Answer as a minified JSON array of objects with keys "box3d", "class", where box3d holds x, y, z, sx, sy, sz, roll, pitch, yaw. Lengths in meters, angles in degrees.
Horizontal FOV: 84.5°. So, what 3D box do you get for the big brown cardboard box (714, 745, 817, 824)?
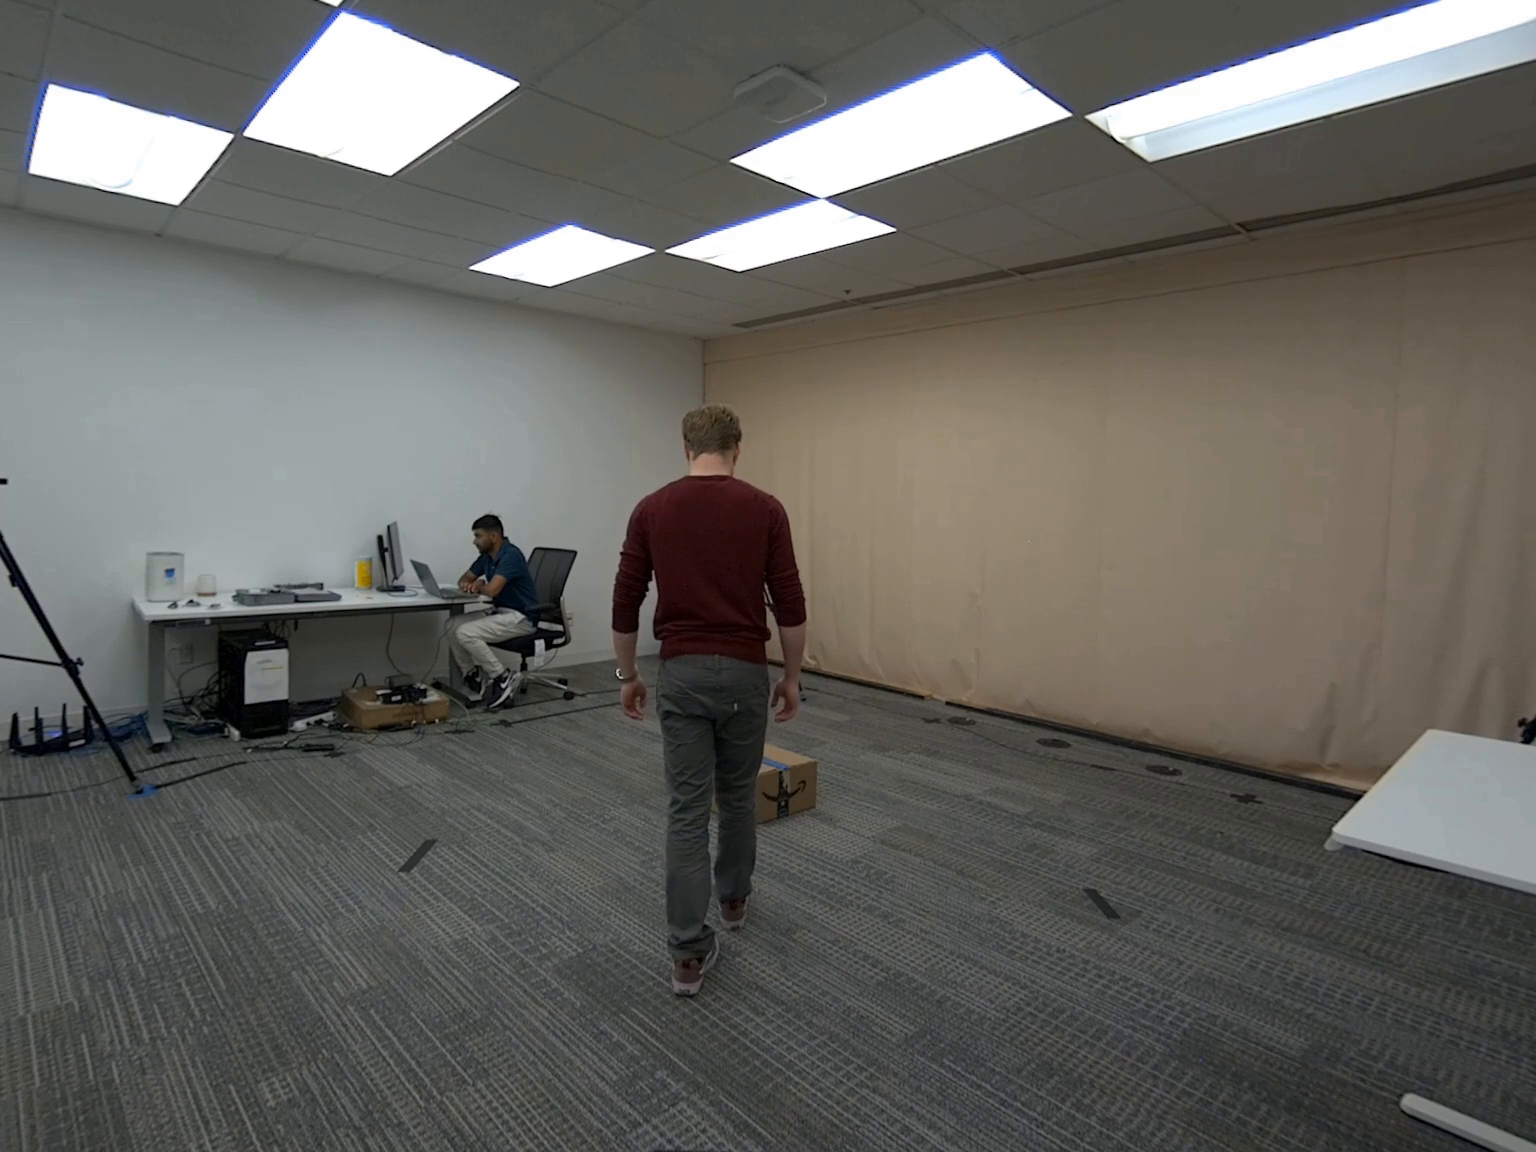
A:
[{"box3d":[-0.128,0.924,3.906,0.408,0.232,0.604,-2,6,-42],"class":"big brown cardboard box"}]
